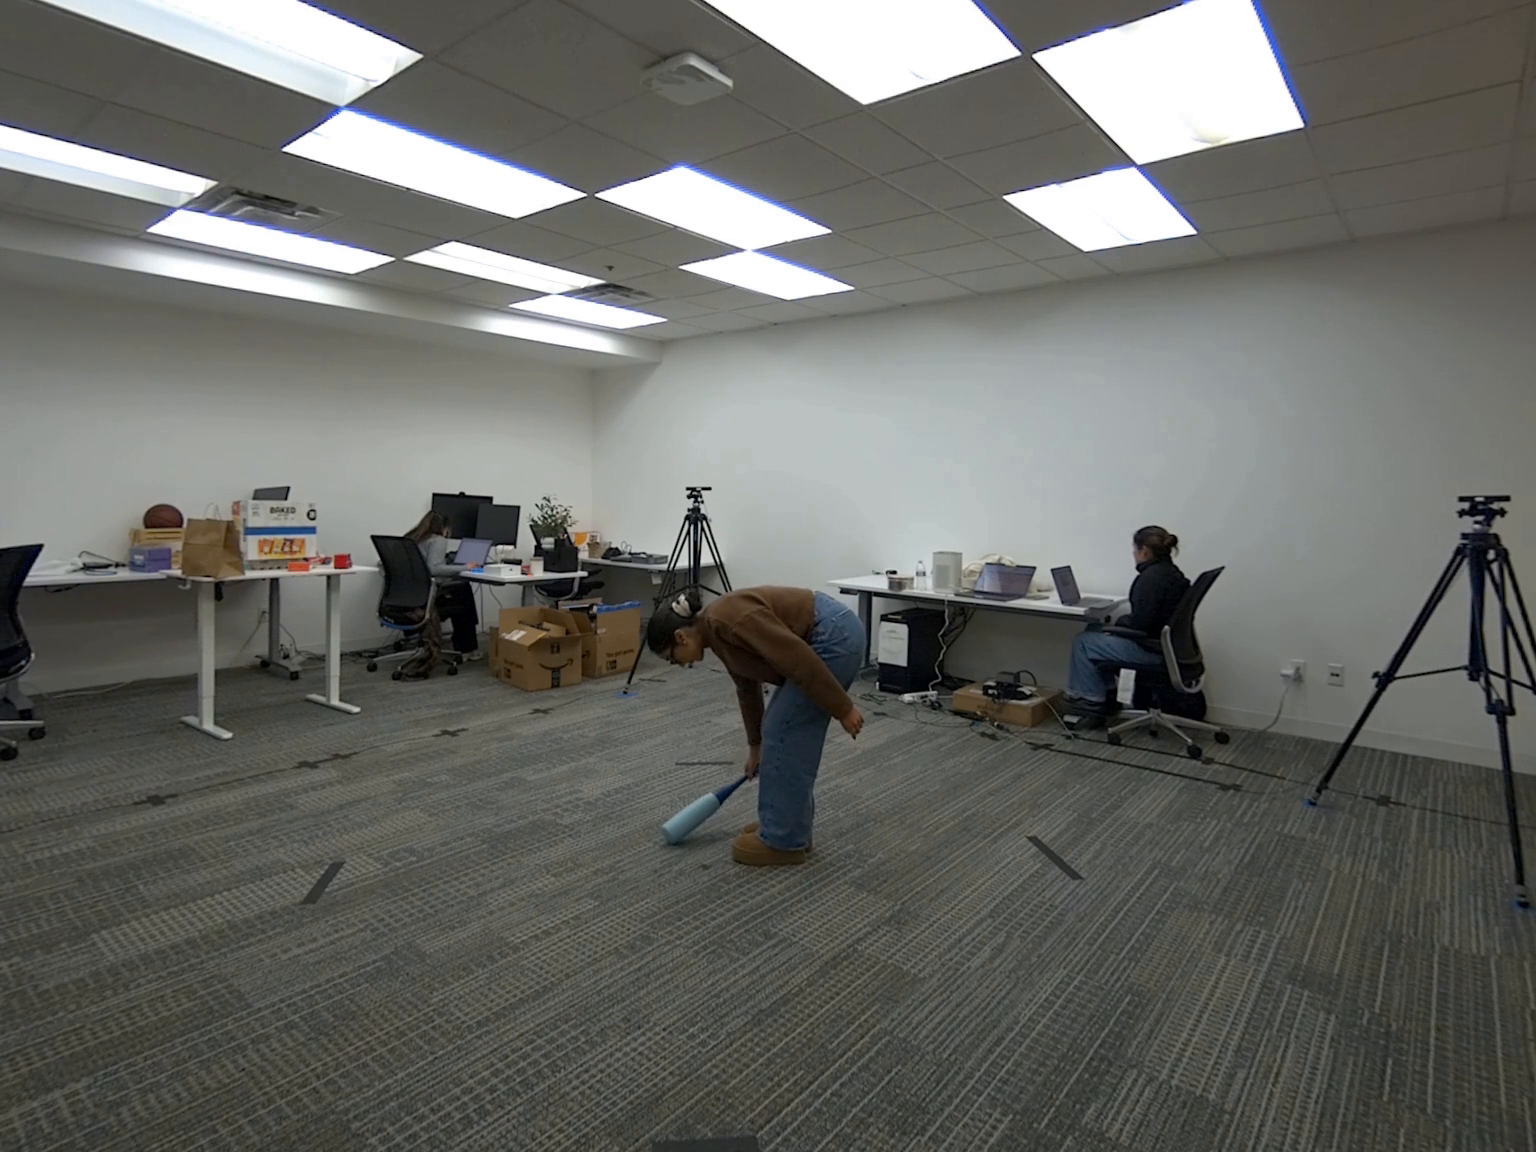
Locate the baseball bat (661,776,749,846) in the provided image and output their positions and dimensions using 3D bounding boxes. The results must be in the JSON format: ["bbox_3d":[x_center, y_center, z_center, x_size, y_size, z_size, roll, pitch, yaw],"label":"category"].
[{"bbox_3d":[-0.211,0.900,3.446,0.536,0.087,0.092,-29,21,-32],"label":"baseball bat"}]
